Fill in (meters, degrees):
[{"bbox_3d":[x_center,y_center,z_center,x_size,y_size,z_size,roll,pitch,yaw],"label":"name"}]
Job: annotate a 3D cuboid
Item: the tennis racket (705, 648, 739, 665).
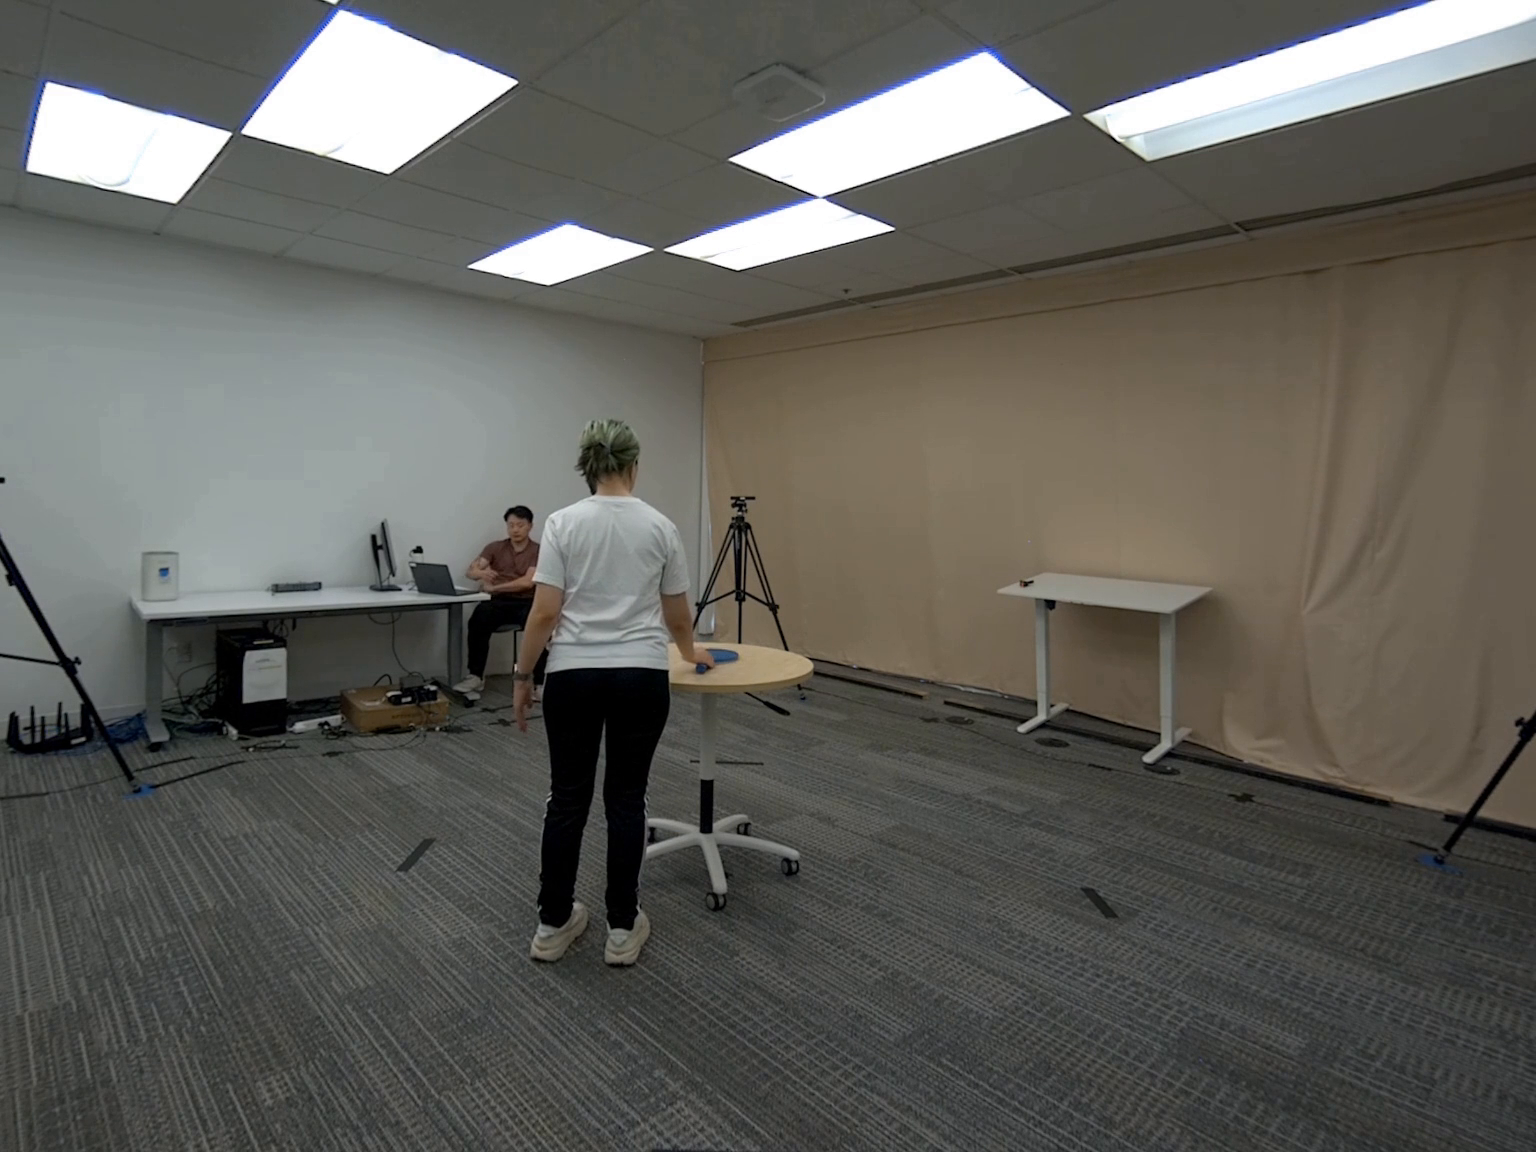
[{"bbox_3d":[-0.226,0.306,3.106,0.215,0.032,0.431,3,4,5],"label":"tennis racket"}]
